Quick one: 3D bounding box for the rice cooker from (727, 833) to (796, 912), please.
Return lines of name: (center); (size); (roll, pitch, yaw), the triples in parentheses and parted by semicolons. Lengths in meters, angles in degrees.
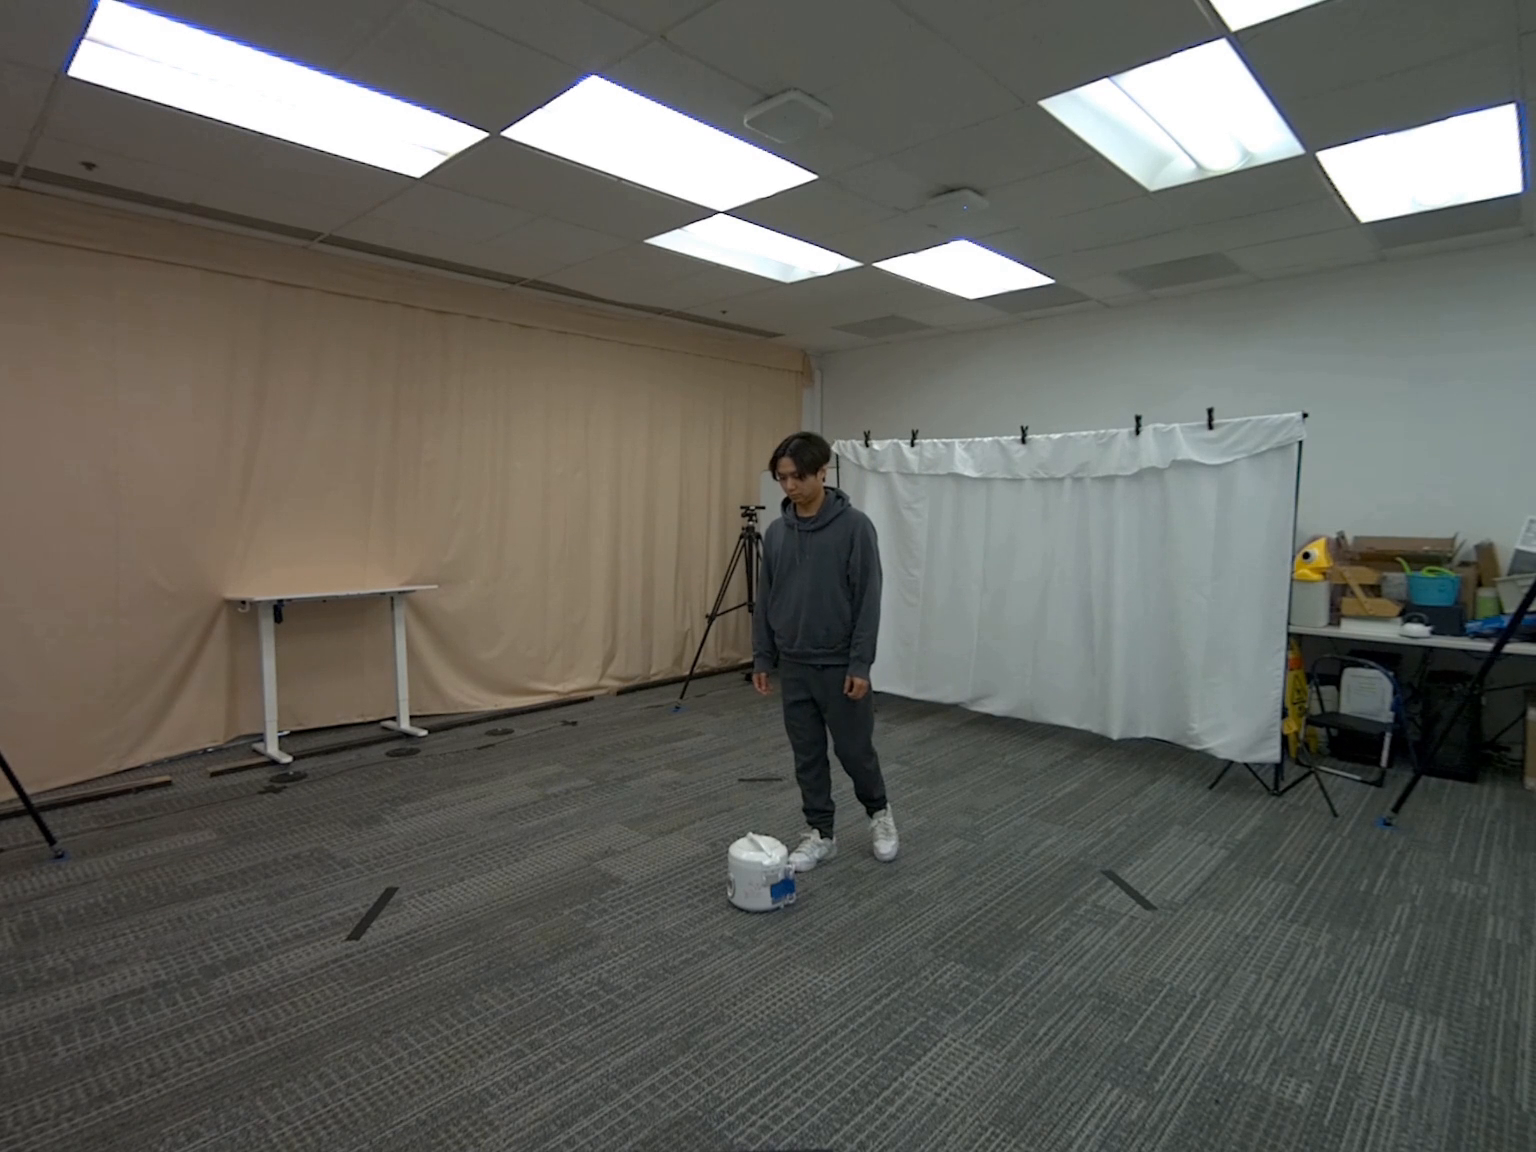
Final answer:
rice cooker: (-0.031, 1.029, 2.953); (0.212, 0.232, 0.226); (-1, 4, -25)
